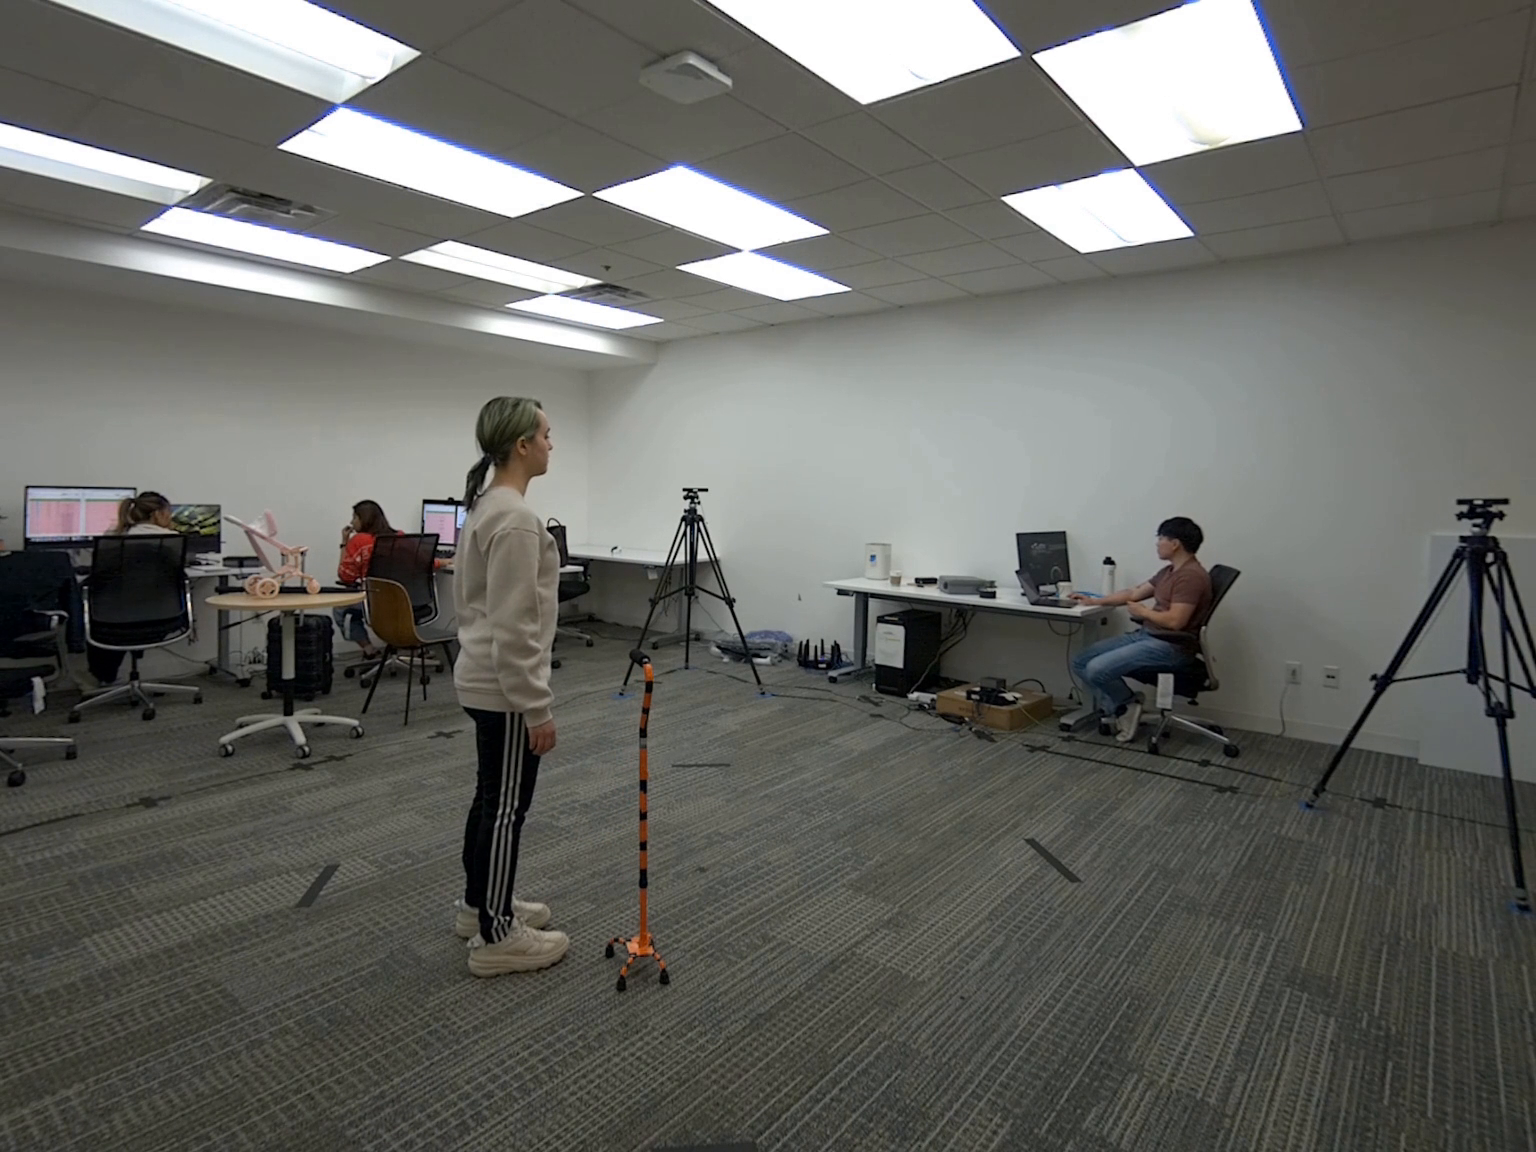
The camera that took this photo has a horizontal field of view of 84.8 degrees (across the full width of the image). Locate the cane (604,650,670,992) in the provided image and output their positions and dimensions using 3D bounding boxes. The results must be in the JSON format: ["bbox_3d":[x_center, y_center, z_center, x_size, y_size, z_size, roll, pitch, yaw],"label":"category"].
[{"bbox_3d":[-0.382,0.681,2.439,0.148,0.906,0.211,-1,3,-21],"label":"cane"}]
